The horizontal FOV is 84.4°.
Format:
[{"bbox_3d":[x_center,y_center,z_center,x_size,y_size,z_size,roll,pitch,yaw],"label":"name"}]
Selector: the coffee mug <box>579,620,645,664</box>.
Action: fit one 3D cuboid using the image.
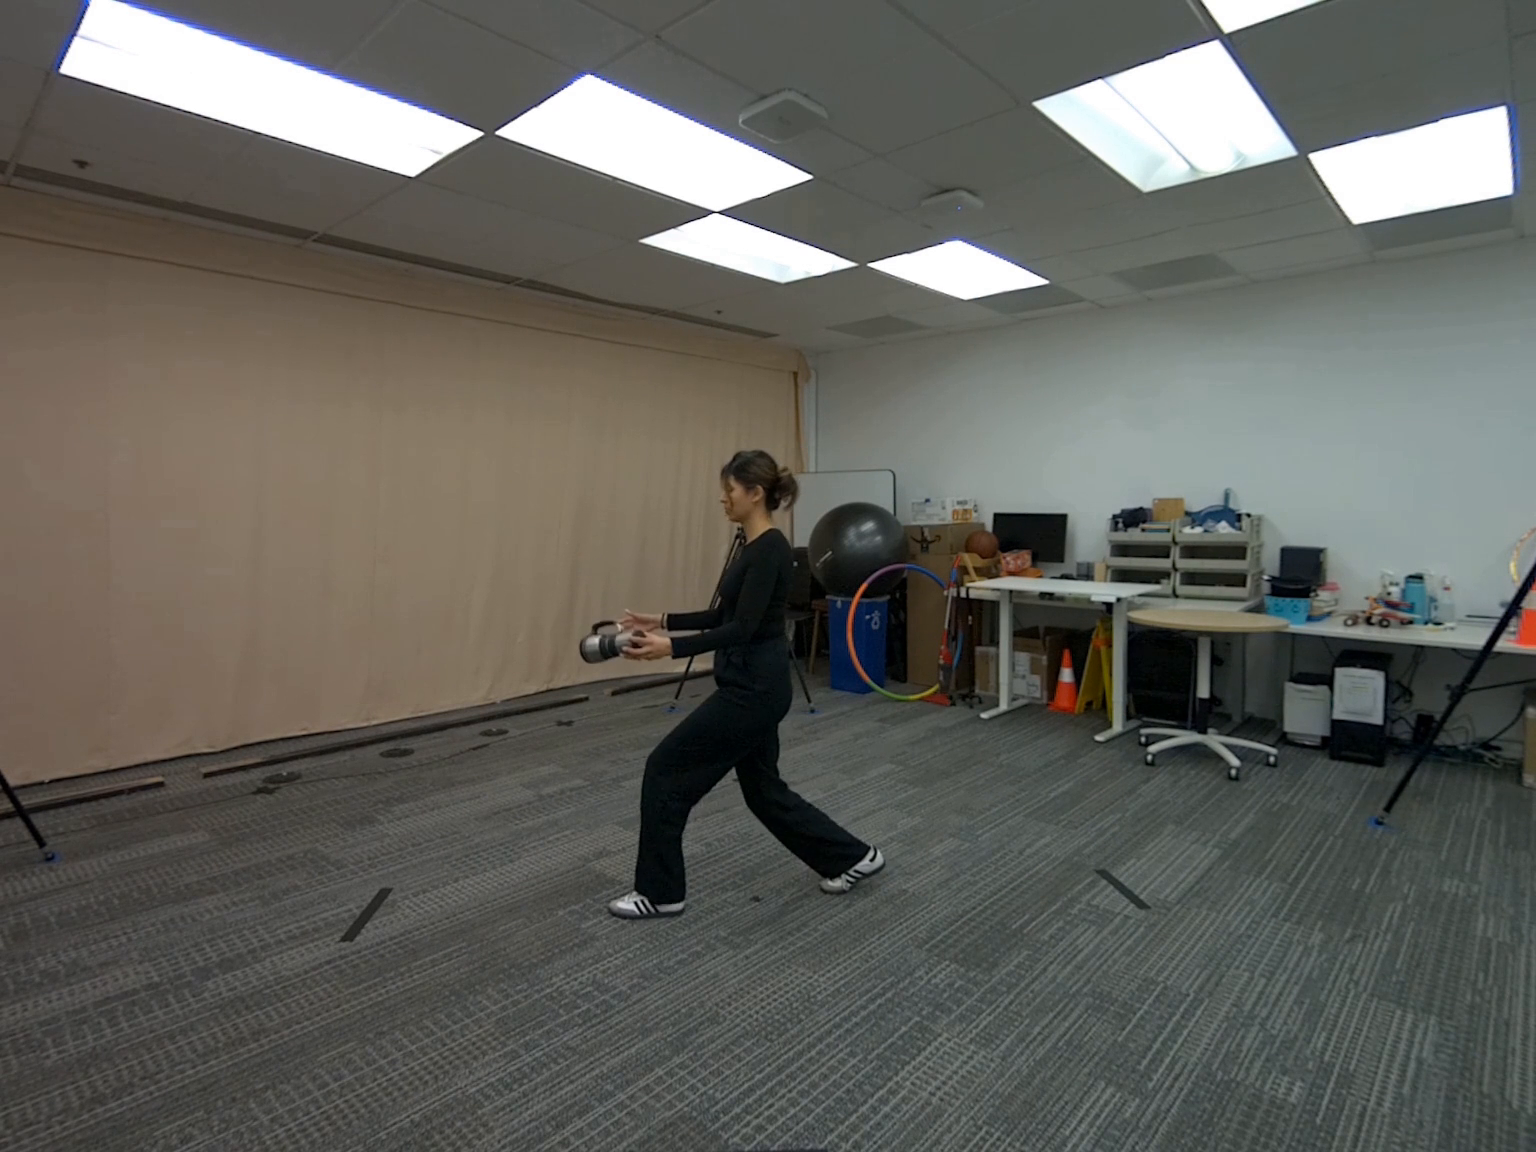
[{"bbox_3d":[-0.452,0.205,2.564,0.208,0.122,0.086,-13,0,31],"label":"coffee mug"}]
